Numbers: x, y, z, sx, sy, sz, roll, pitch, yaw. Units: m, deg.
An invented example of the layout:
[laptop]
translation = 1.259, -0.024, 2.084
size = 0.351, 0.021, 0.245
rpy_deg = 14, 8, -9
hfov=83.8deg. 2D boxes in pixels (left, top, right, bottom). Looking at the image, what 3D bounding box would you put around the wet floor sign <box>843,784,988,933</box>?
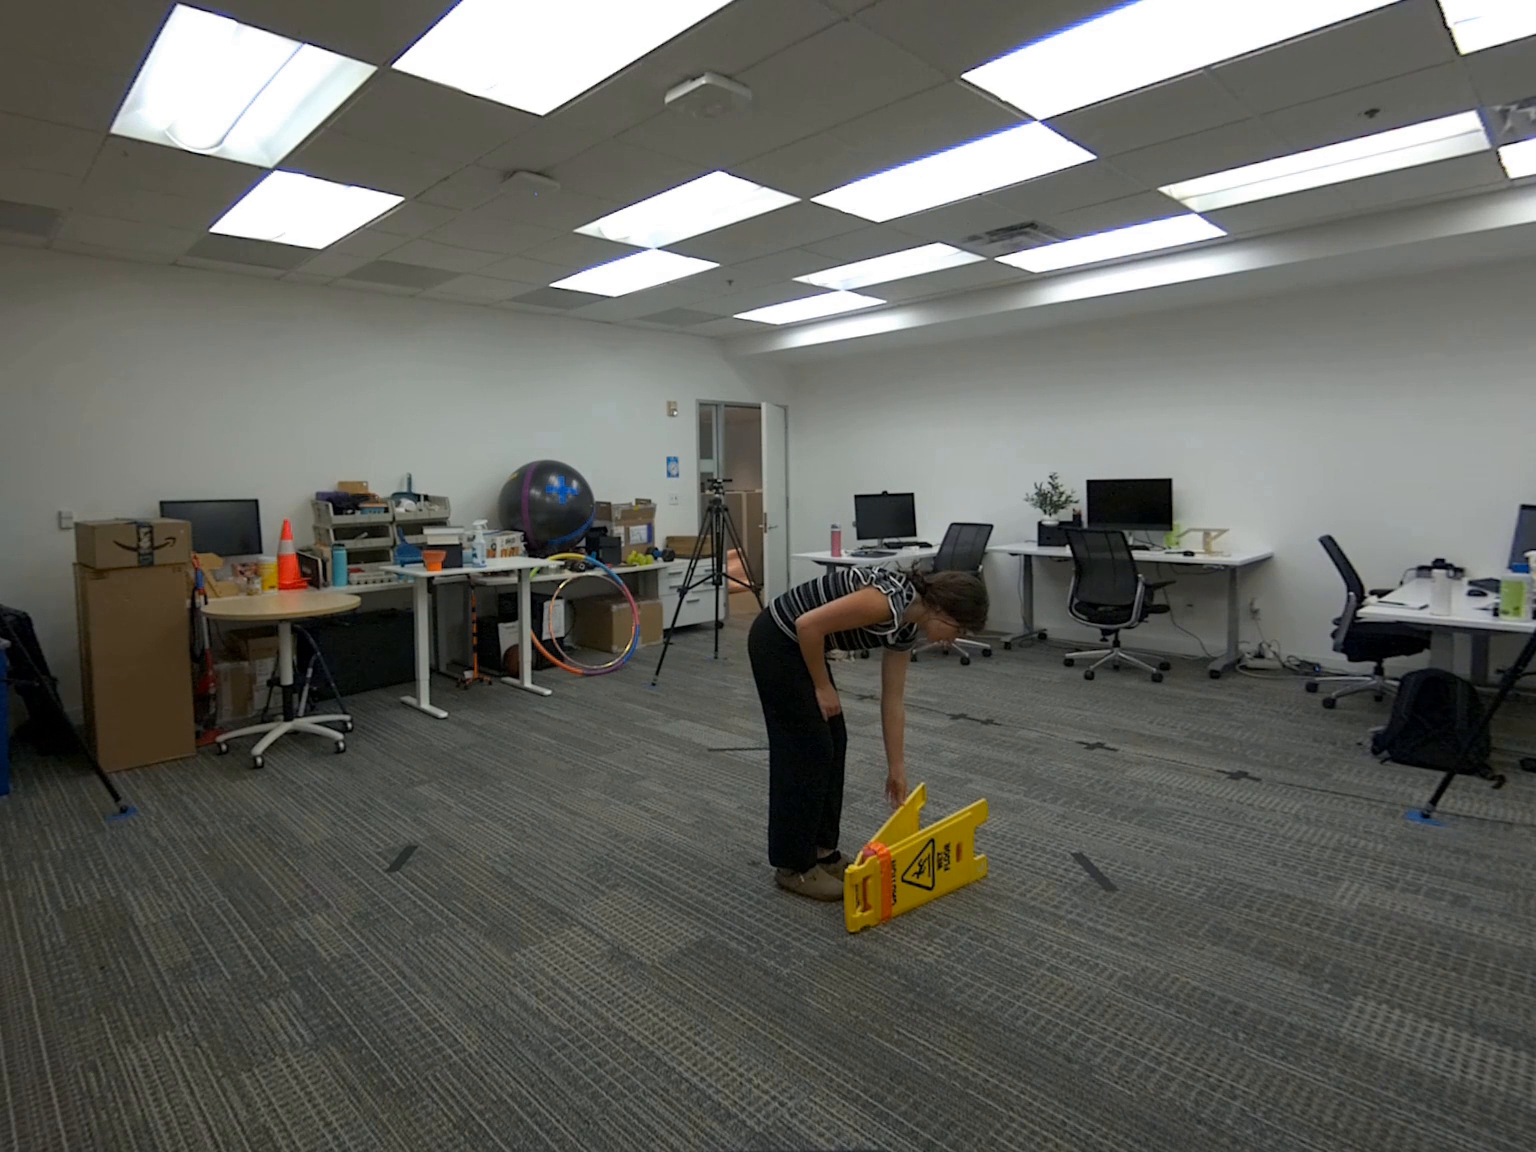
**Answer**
[wet floor sign]
translation = 0.462, 0.946, 2.819
size = 0.299, 0.280, 0.631
rpy_deg = 5, 11, 41
